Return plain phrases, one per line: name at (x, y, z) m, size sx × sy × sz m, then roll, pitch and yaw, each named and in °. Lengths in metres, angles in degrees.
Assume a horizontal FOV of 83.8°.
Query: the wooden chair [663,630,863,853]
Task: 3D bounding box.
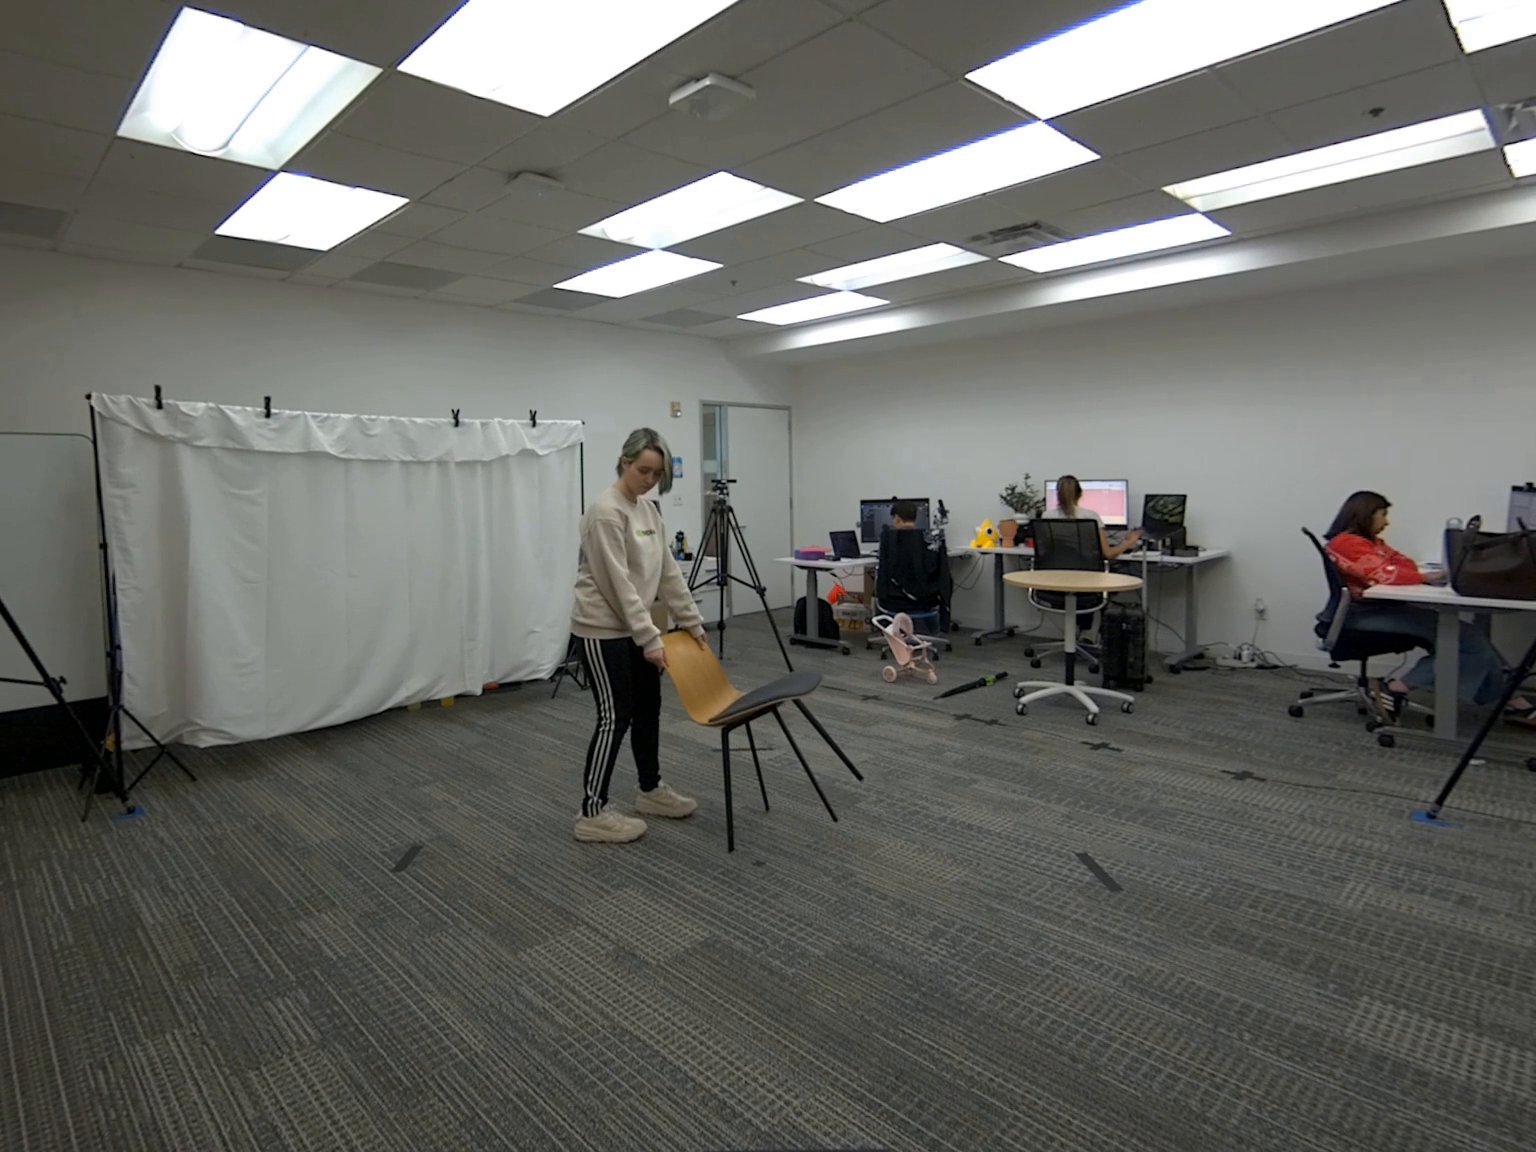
wooden chair at (-0.036, 0.536, 3.349) m, size 0.527 × 0.884 × 0.470 m, roll -28°, pitch -6°, yaw 21°
